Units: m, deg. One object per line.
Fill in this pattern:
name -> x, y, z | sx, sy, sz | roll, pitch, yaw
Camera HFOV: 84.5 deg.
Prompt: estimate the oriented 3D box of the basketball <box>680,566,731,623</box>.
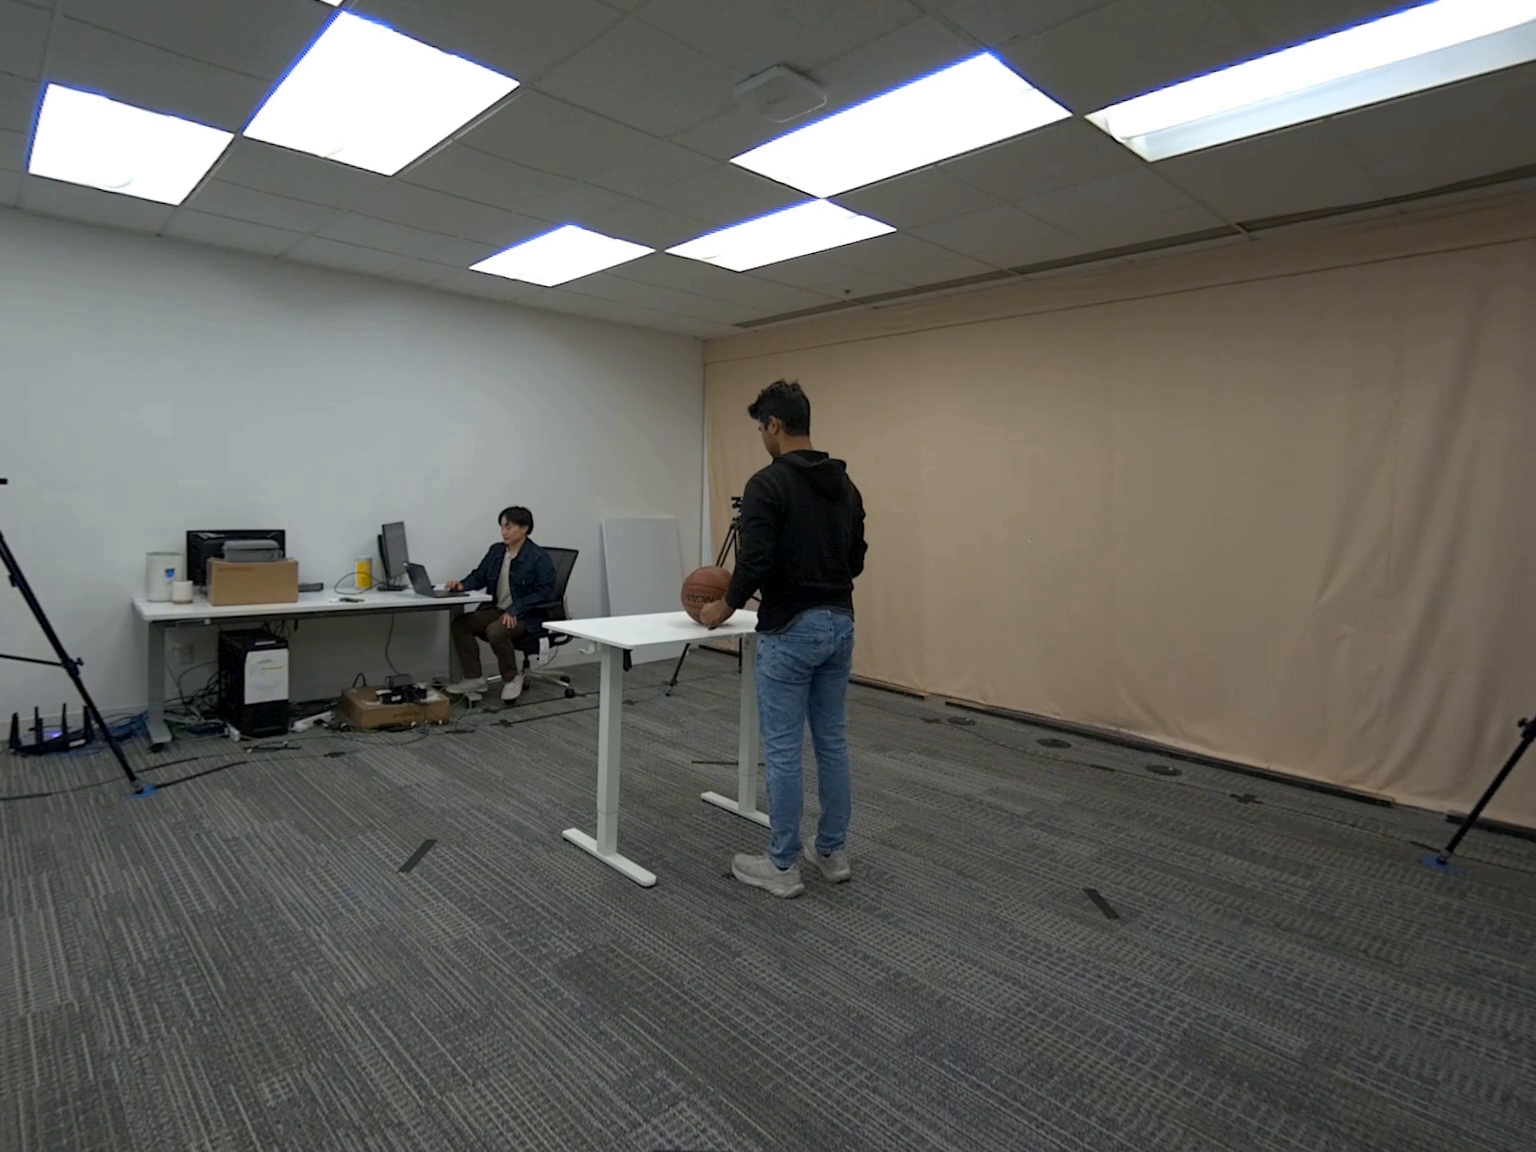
basketball -> -0.234, 0.078, 3.393 | 0.236, 0.235, 0.237 | 1, 4, -1
